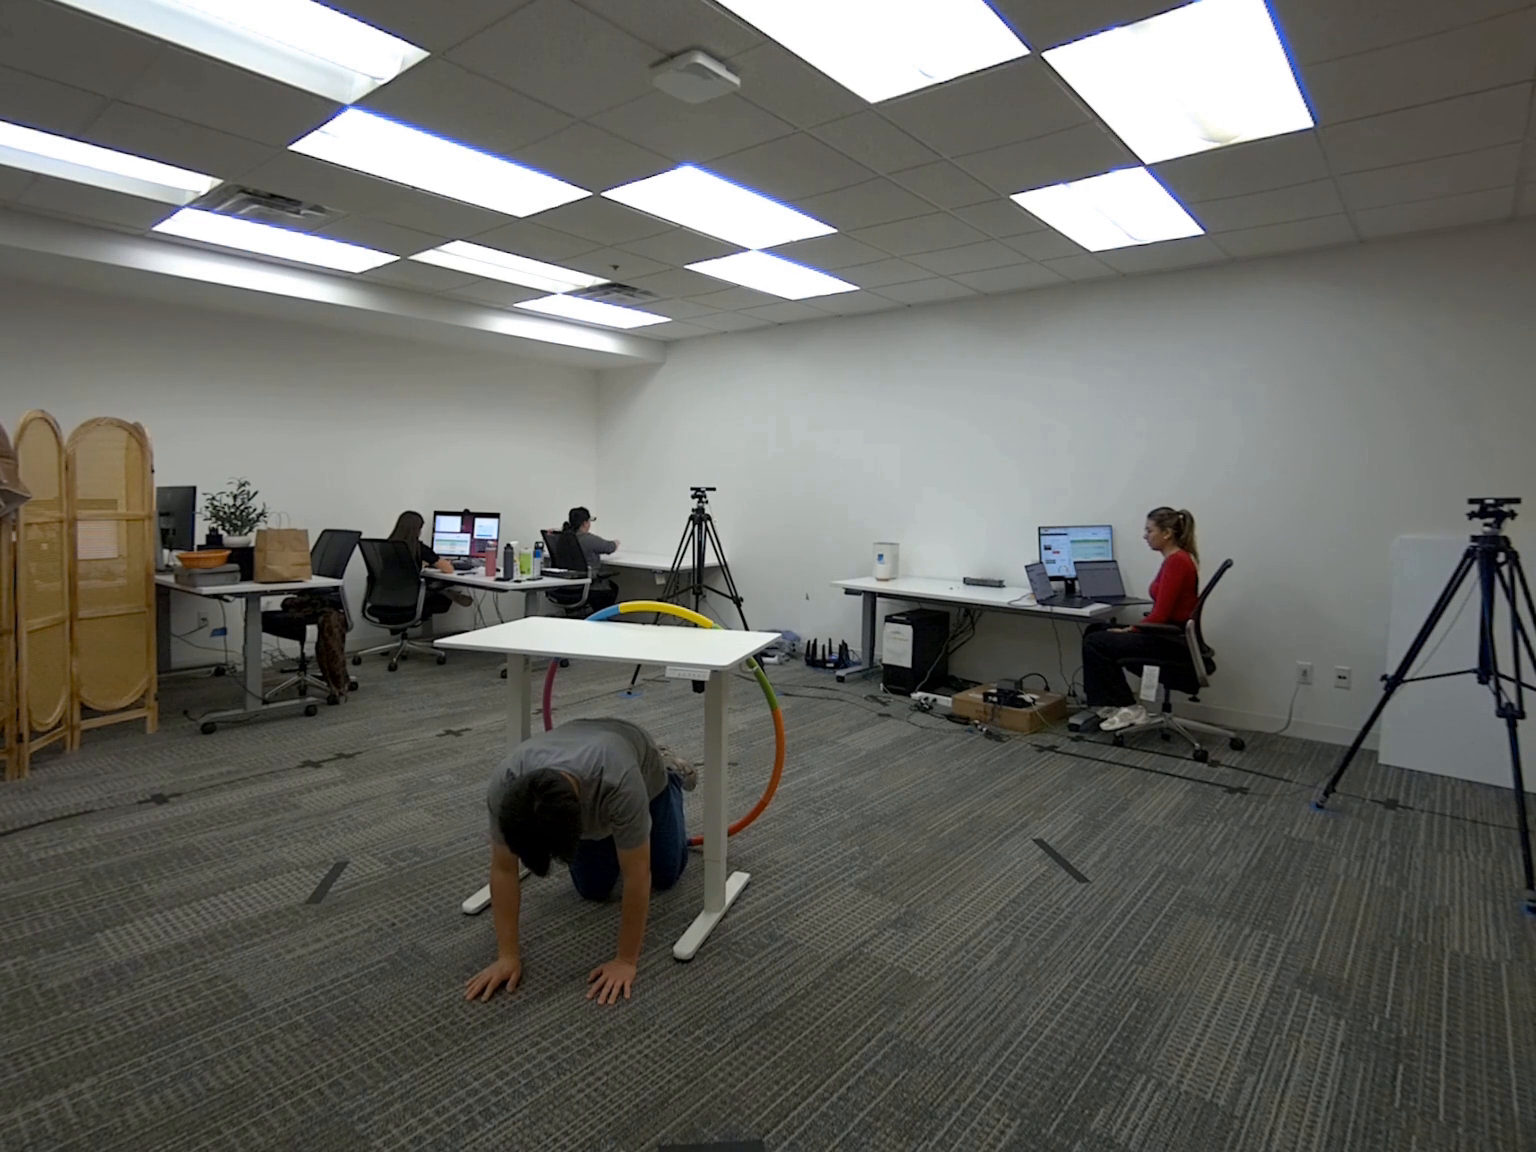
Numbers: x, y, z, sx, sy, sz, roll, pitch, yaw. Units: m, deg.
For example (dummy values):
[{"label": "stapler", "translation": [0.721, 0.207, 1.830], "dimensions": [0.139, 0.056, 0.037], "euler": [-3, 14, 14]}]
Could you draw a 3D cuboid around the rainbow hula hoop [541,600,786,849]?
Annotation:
[{"label": "rainbow hula hoop", "translation": [-0.424, 0.570, 3.217], "dimensions": [0.998, 0.967, 0.035], "euler": [3, 12, 18]}]
